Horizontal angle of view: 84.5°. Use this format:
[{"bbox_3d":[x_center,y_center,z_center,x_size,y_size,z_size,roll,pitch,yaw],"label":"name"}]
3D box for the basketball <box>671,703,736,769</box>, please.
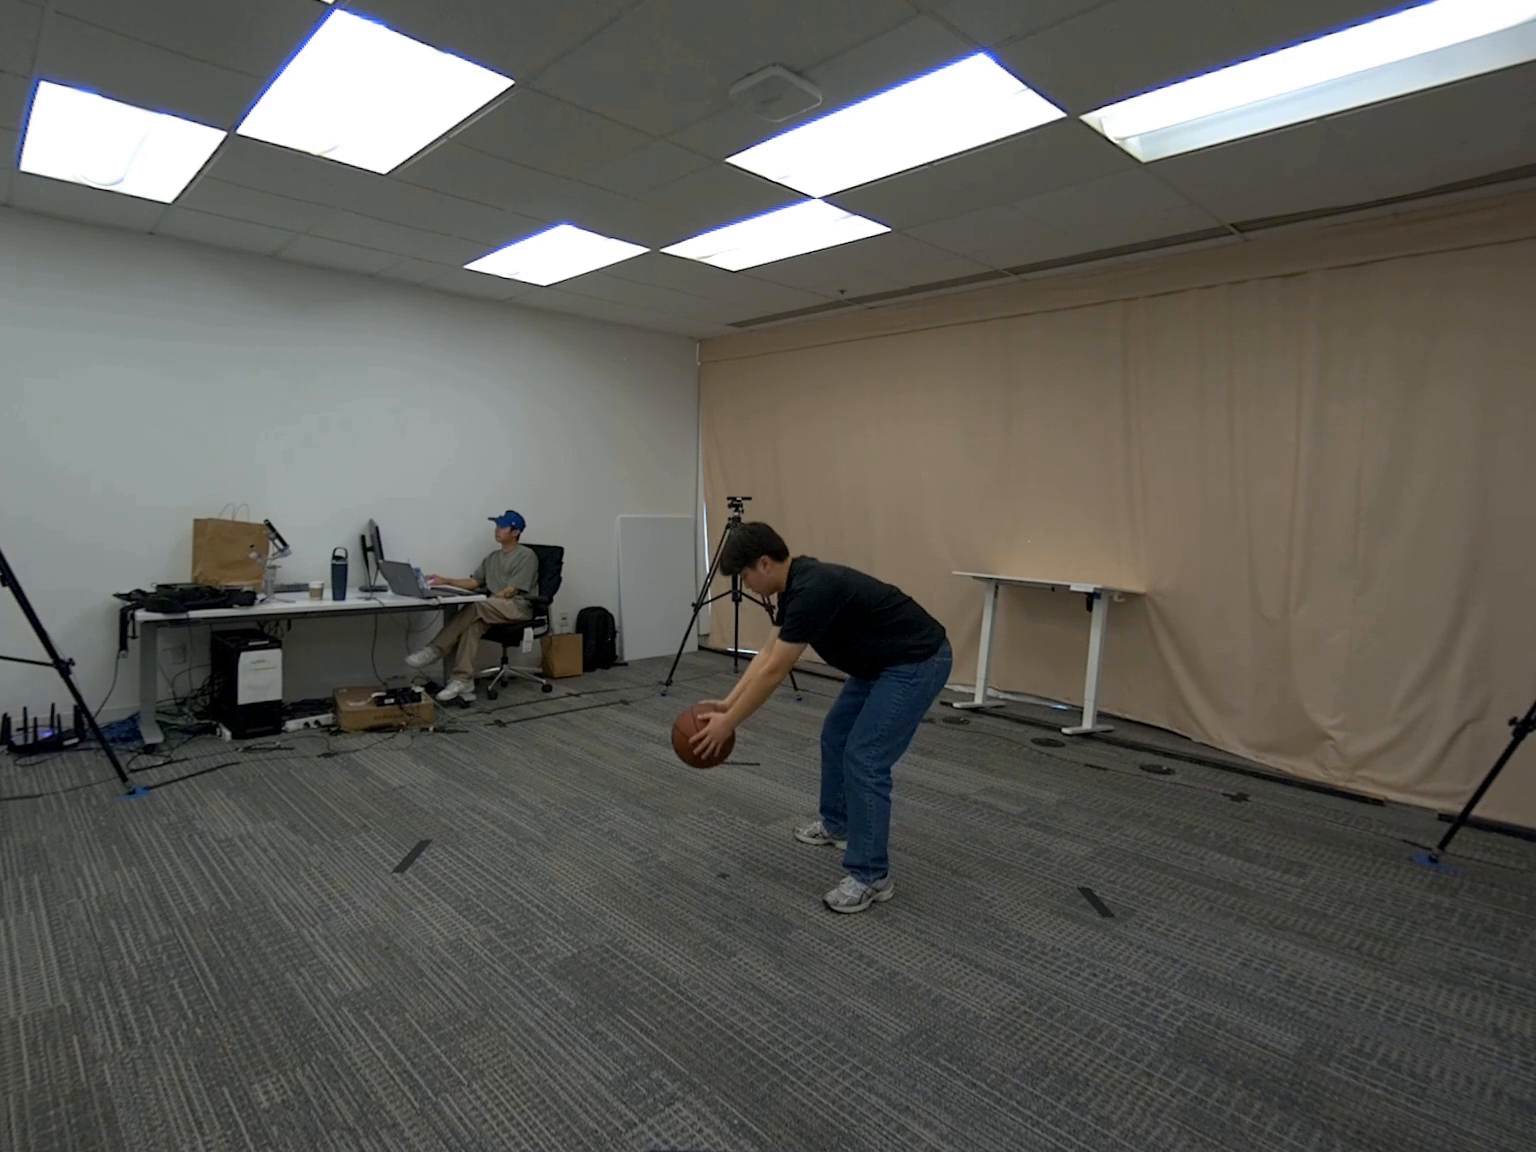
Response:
[{"bbox_3d":[-0.244,0.580,3.121,0.236,0.235,0.237,1,4,-1],"label":"basketball"}]
